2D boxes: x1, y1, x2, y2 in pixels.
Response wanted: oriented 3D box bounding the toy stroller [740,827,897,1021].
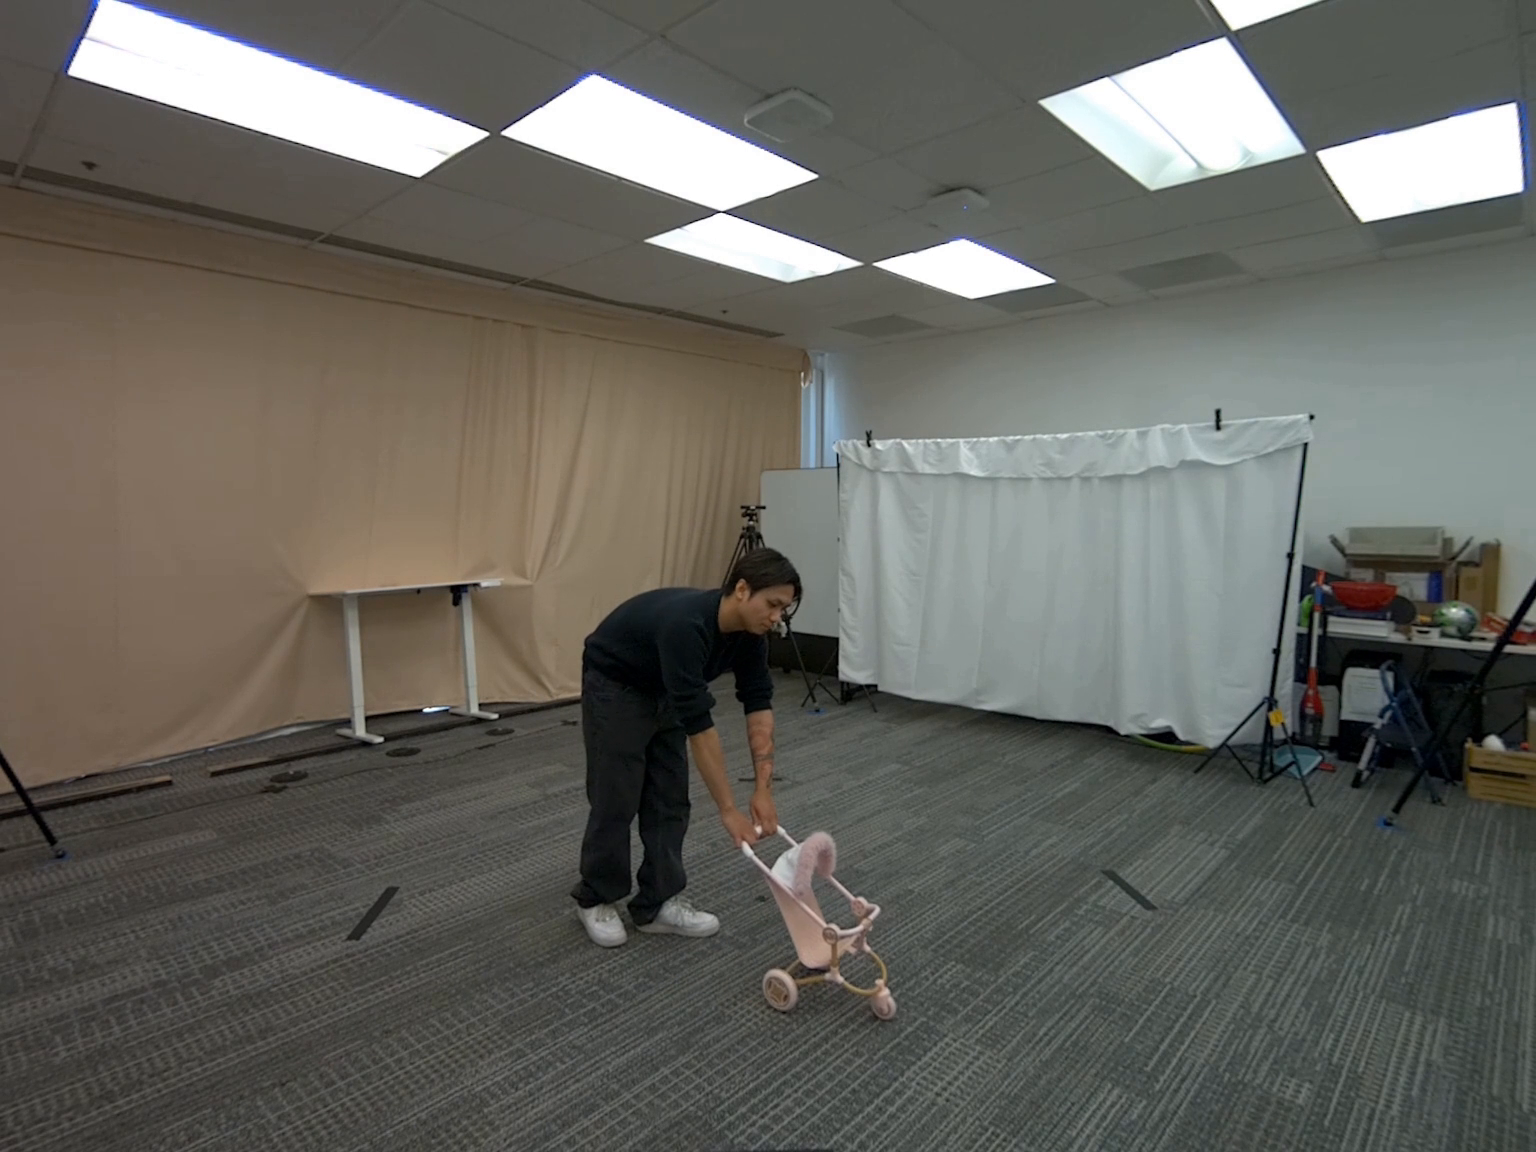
[{"bbox_3d":[0.148,0.970,2.383,0.349,0.538,0.273,-17,-8,36],"label":"toy stroller"}]
